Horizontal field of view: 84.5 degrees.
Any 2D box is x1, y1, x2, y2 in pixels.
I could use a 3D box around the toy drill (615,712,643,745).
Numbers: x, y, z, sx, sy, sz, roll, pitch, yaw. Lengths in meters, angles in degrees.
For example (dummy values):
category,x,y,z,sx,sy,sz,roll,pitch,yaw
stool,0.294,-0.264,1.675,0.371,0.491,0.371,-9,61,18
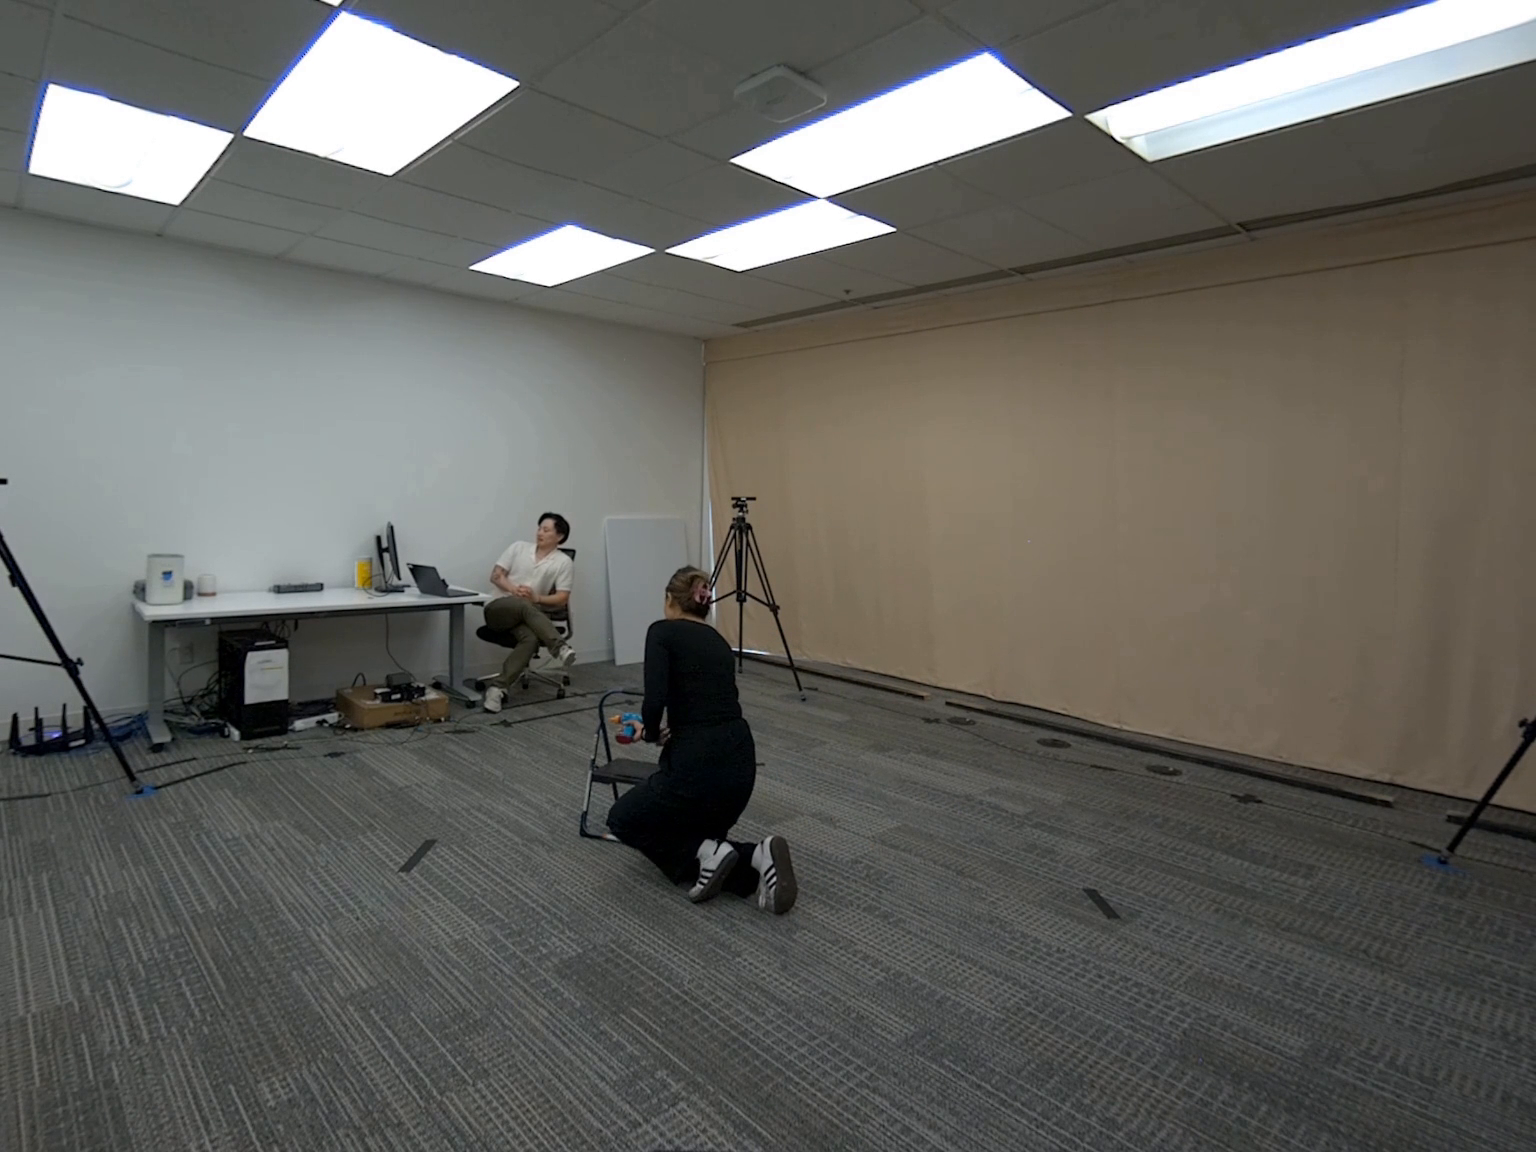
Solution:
category,x,y,z,sx,sy,sz,roll,pitch,yaw
toy drill,-0.614,0.627,3.481,0.173,0.060,0.147,0,34,24
